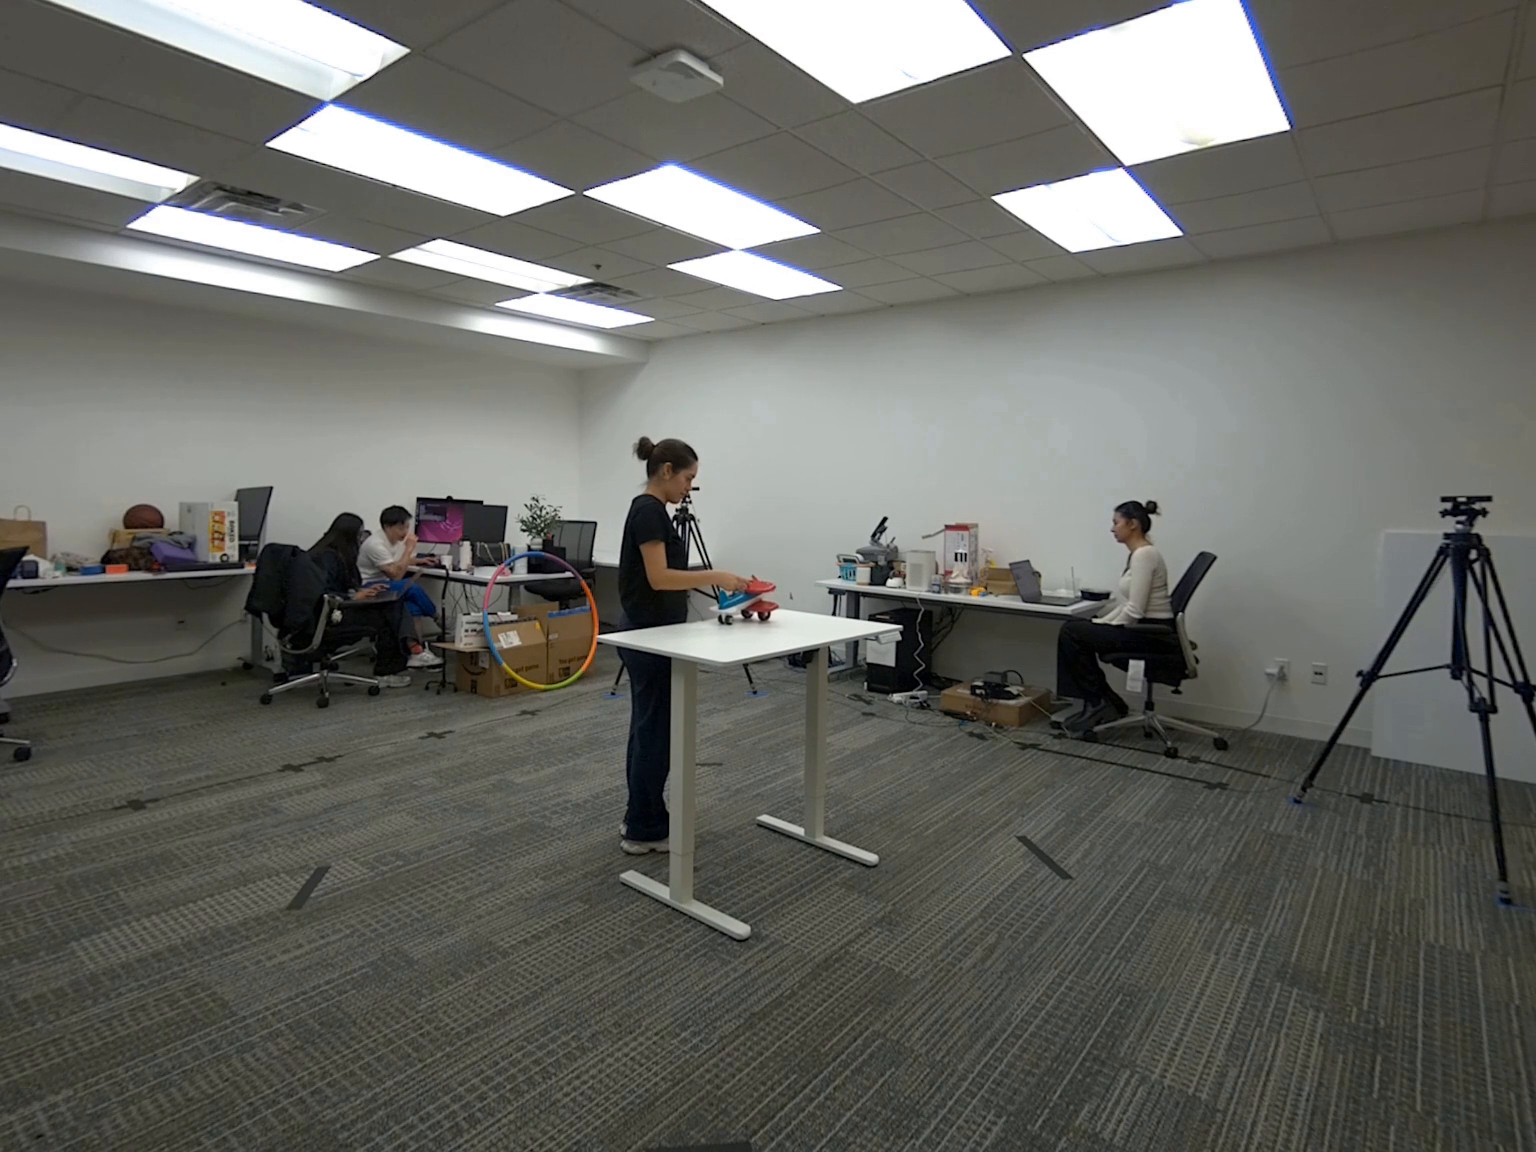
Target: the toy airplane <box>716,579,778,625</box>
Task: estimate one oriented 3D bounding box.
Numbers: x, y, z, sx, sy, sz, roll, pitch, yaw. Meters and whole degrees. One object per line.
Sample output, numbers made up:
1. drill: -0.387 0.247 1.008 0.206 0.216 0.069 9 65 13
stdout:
1. toy airplane: -0.070 0.096 3.254 0.255 0.156 0.256 2 4 12
